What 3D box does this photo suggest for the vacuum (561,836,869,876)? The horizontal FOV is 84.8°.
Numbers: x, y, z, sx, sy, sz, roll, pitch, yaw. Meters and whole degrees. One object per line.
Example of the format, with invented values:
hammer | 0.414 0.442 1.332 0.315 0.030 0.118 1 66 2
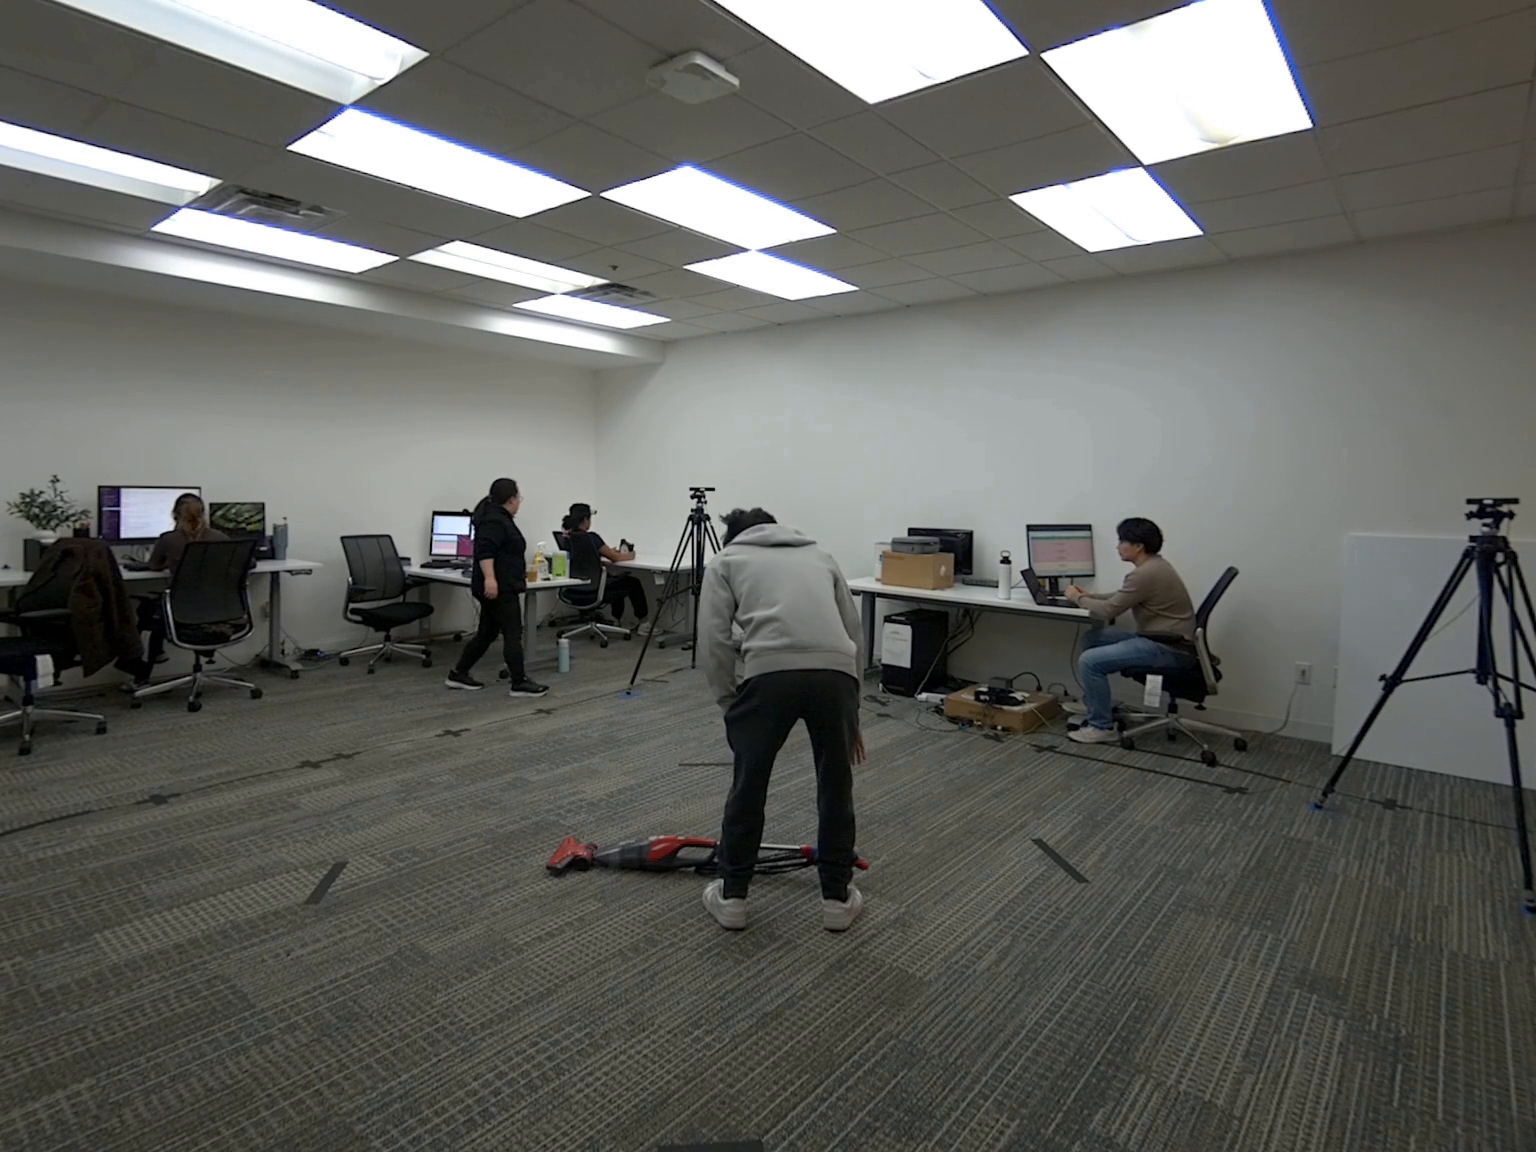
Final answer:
vacuum | -0.177 1.017 3.068 1.056 0.145 0.249 0 -5 5
